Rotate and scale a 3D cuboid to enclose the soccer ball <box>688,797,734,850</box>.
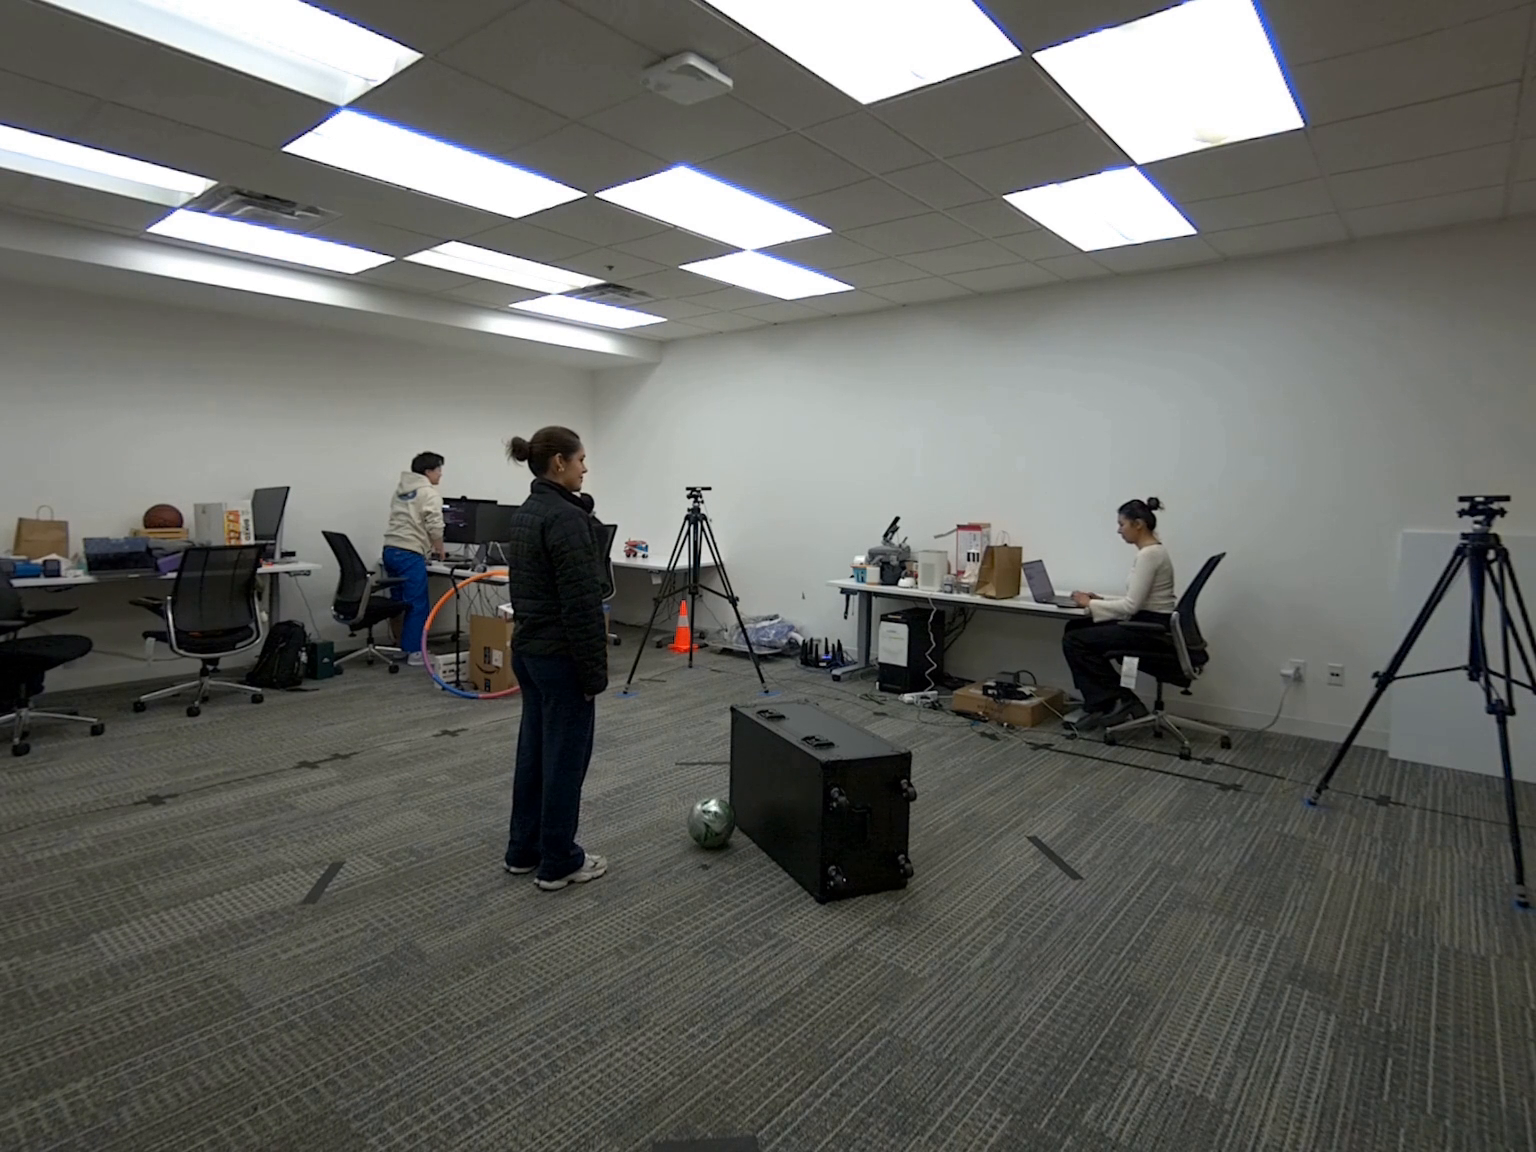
[{"bbox_3d":[-0.227,0.957,3.308,0.187,0.187,0.188,1,4,-2],"label":"soccer ball"}]
